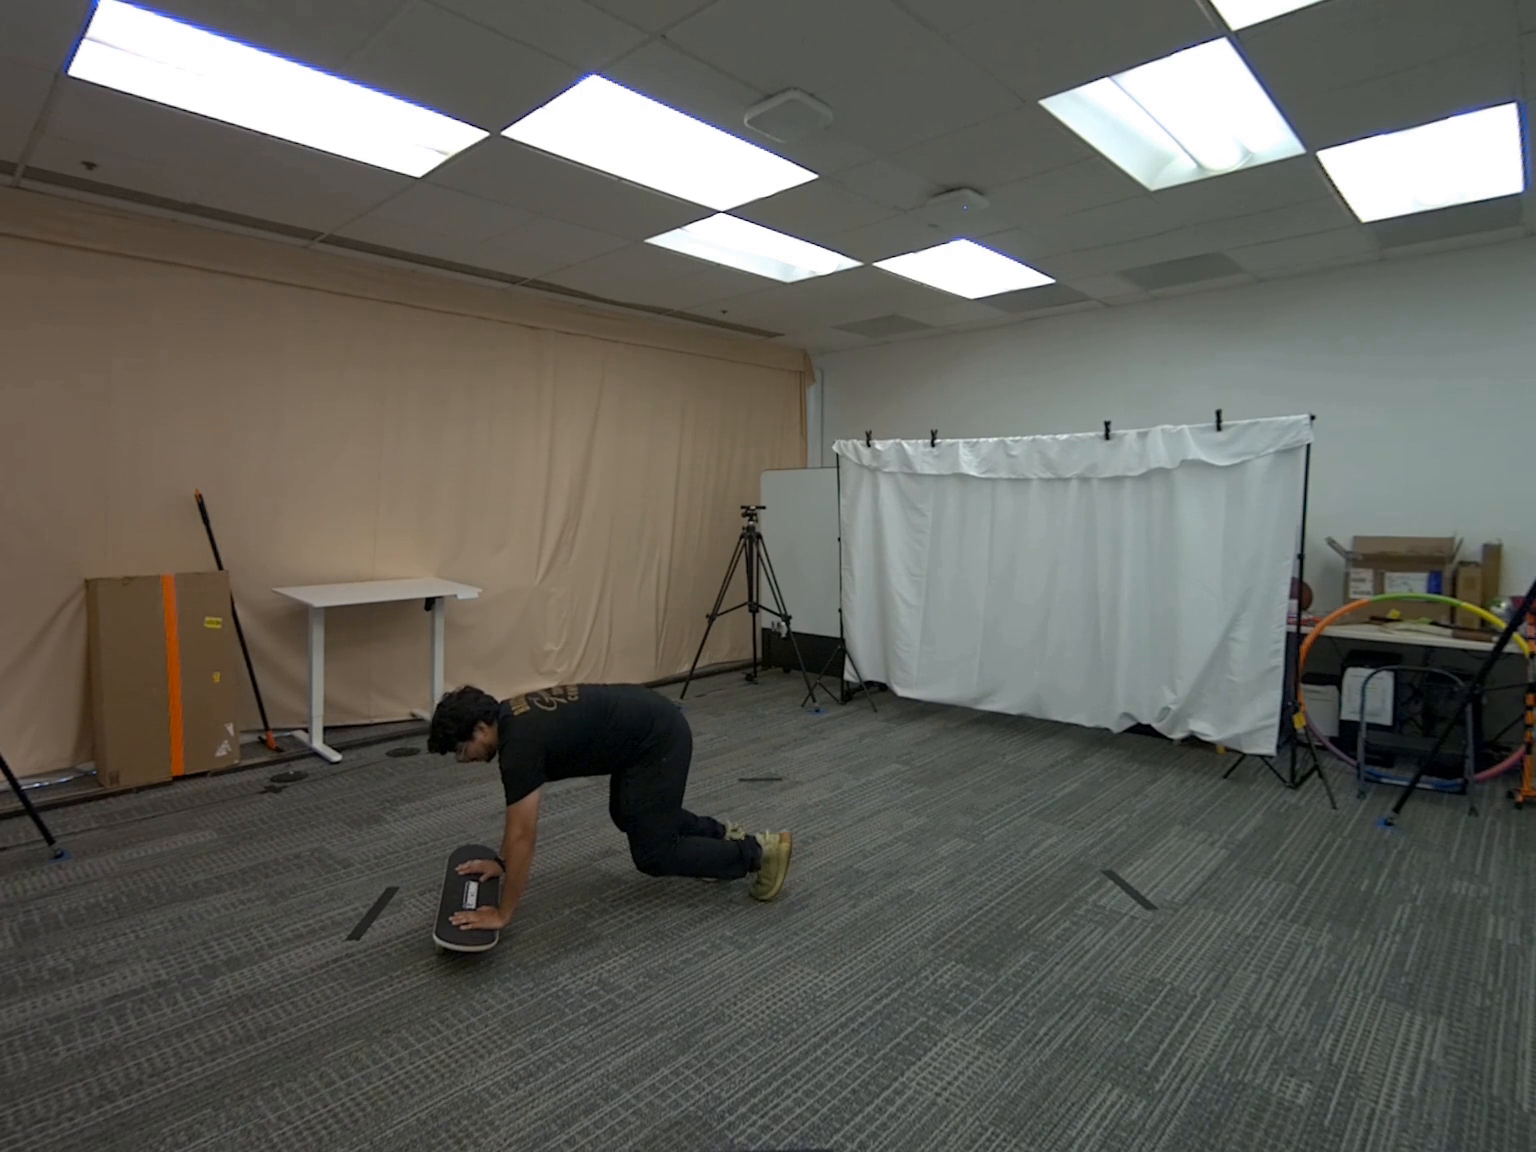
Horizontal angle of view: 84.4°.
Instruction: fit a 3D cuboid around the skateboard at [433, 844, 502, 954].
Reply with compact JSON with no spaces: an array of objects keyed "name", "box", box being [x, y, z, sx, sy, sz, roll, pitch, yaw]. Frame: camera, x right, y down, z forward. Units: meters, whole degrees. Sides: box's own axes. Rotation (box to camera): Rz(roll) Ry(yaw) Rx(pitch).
[{"name":"skateboard","box":[-1.012,1.111,2.842,0.190,0.110,0.799,8,2,-17]}]
